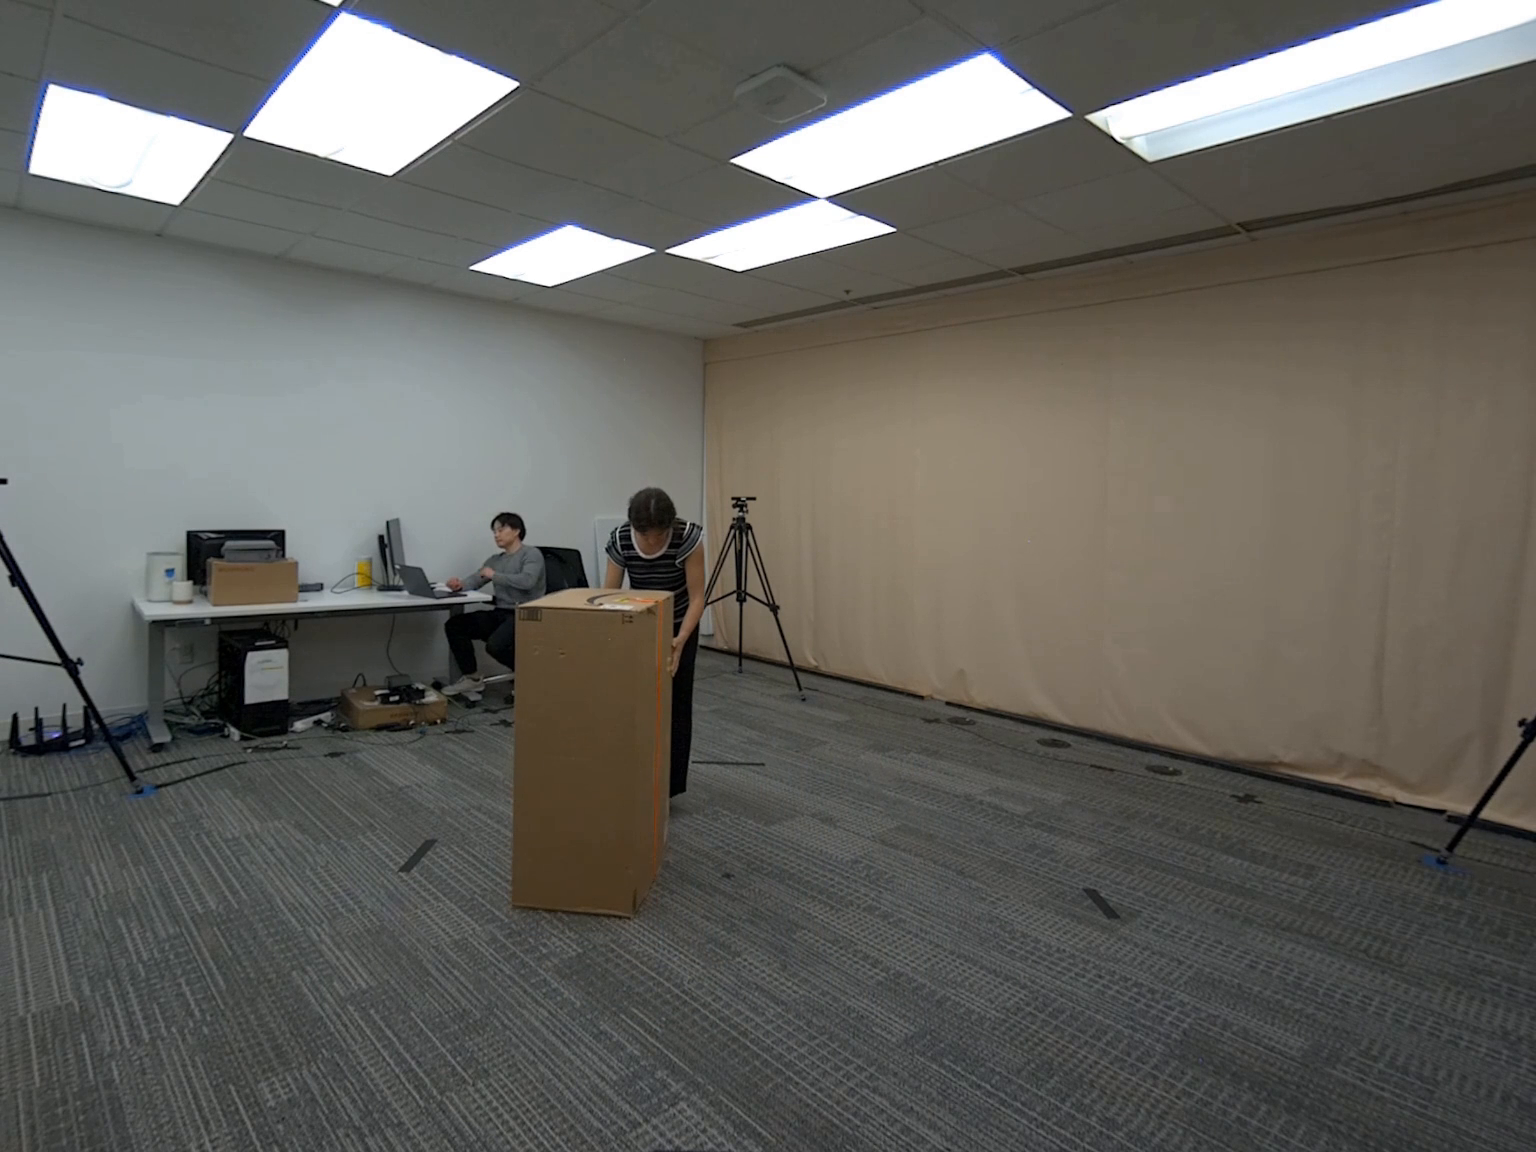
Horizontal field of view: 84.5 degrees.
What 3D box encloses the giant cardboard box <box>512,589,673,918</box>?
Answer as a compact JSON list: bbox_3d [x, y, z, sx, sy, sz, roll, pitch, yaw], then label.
[{"bbox_3d":[-0.627,0.594,3.047,0.428,1.023,0.576,2,3,4],"label":"giant cardboard box"}]
